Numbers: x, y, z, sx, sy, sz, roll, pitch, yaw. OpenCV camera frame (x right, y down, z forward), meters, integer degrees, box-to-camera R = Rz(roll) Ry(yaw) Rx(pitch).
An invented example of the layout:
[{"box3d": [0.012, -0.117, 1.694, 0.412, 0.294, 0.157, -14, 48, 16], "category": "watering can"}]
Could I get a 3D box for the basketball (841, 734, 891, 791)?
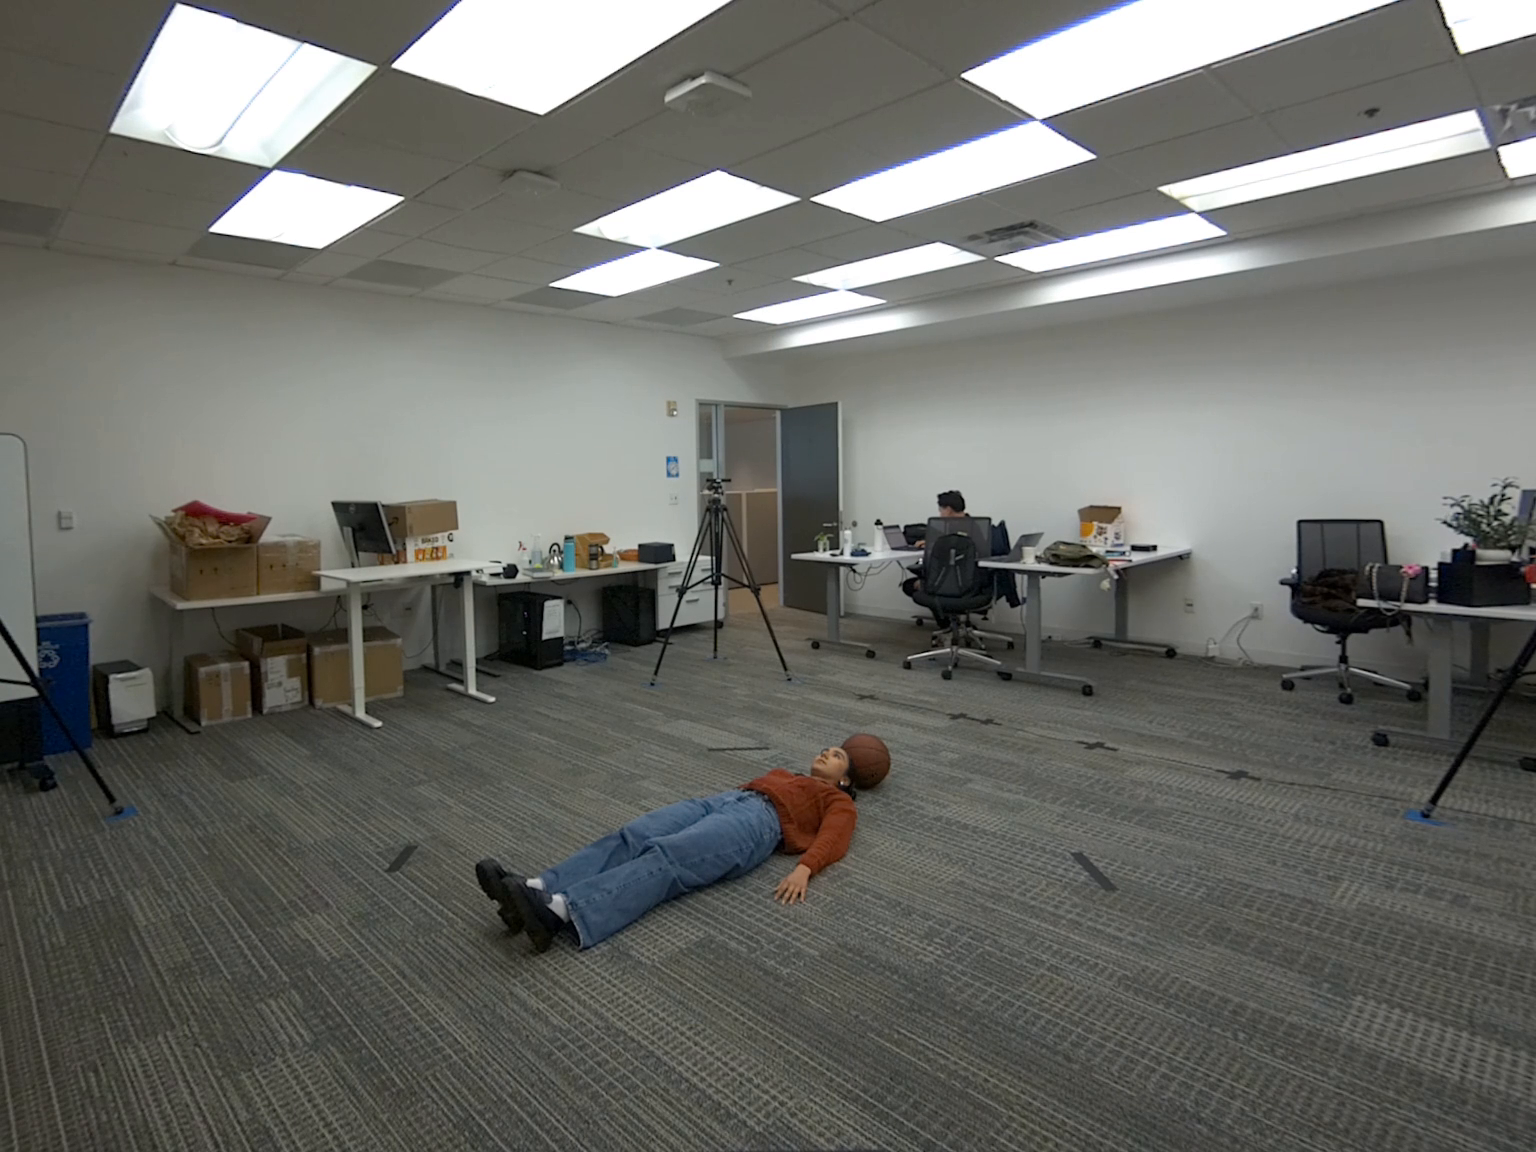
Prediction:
[{"box3d": [0.435, 0.831, 3.859, 0.236, 0.236, 0.236, 0, 1, -2], "category": "basketball"}]
